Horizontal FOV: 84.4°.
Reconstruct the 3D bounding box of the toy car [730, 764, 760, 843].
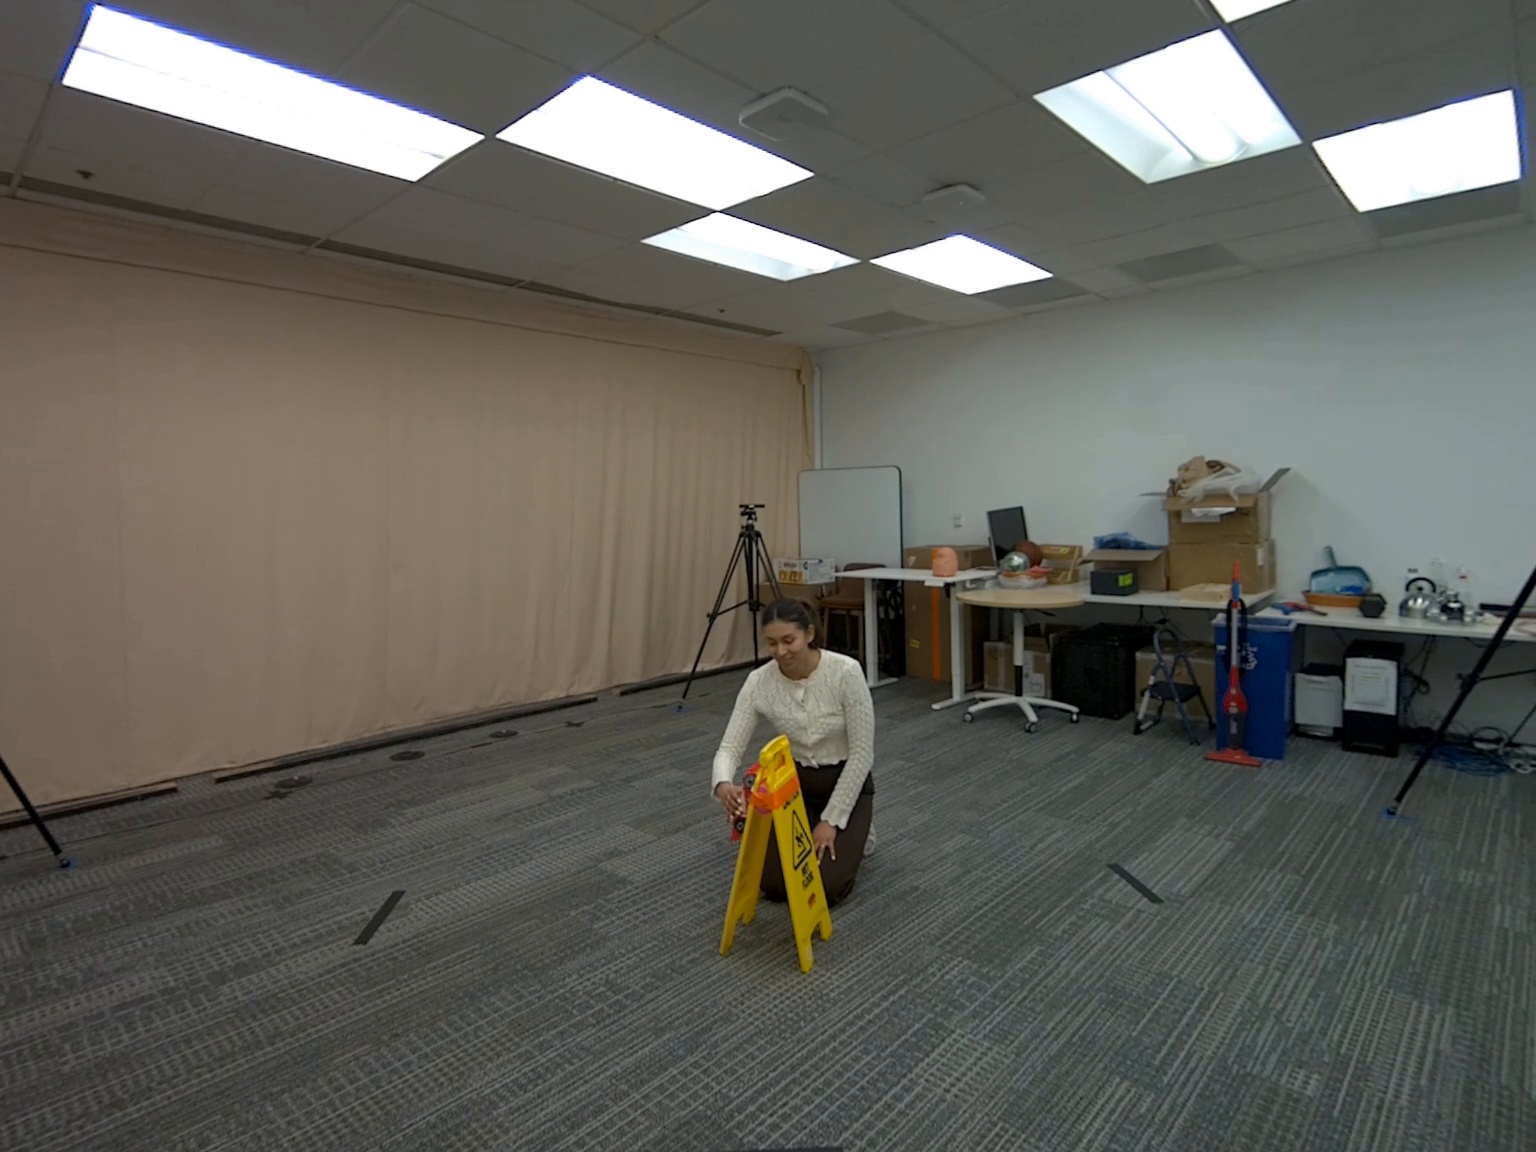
[{"bbox_3d":[-0.039,0.752,2.683,0.084,0.254,0.129,26,10,8],"label":"toy car"}]
